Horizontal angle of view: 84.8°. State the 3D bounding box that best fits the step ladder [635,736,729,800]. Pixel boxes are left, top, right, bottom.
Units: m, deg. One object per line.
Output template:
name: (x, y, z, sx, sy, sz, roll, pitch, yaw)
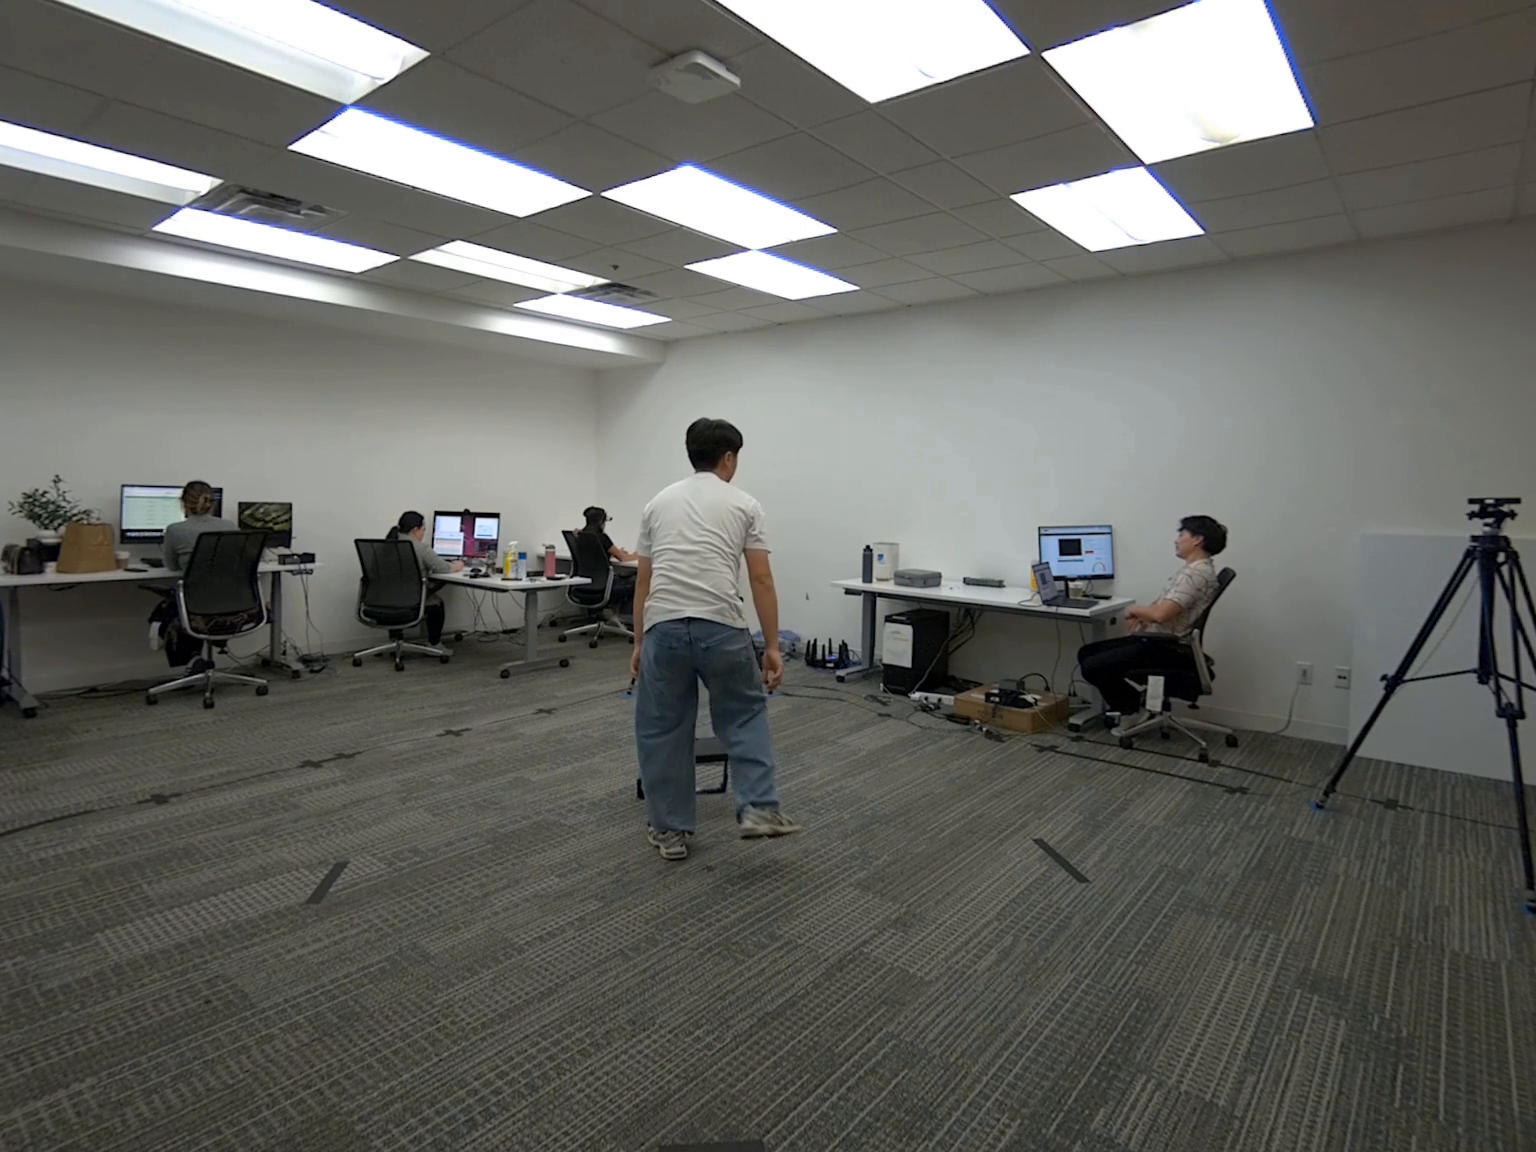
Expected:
step ladder: (-0.340, 0.703, 3.692, 0.423, 0.604, 0.356, 1, 3, -17)
